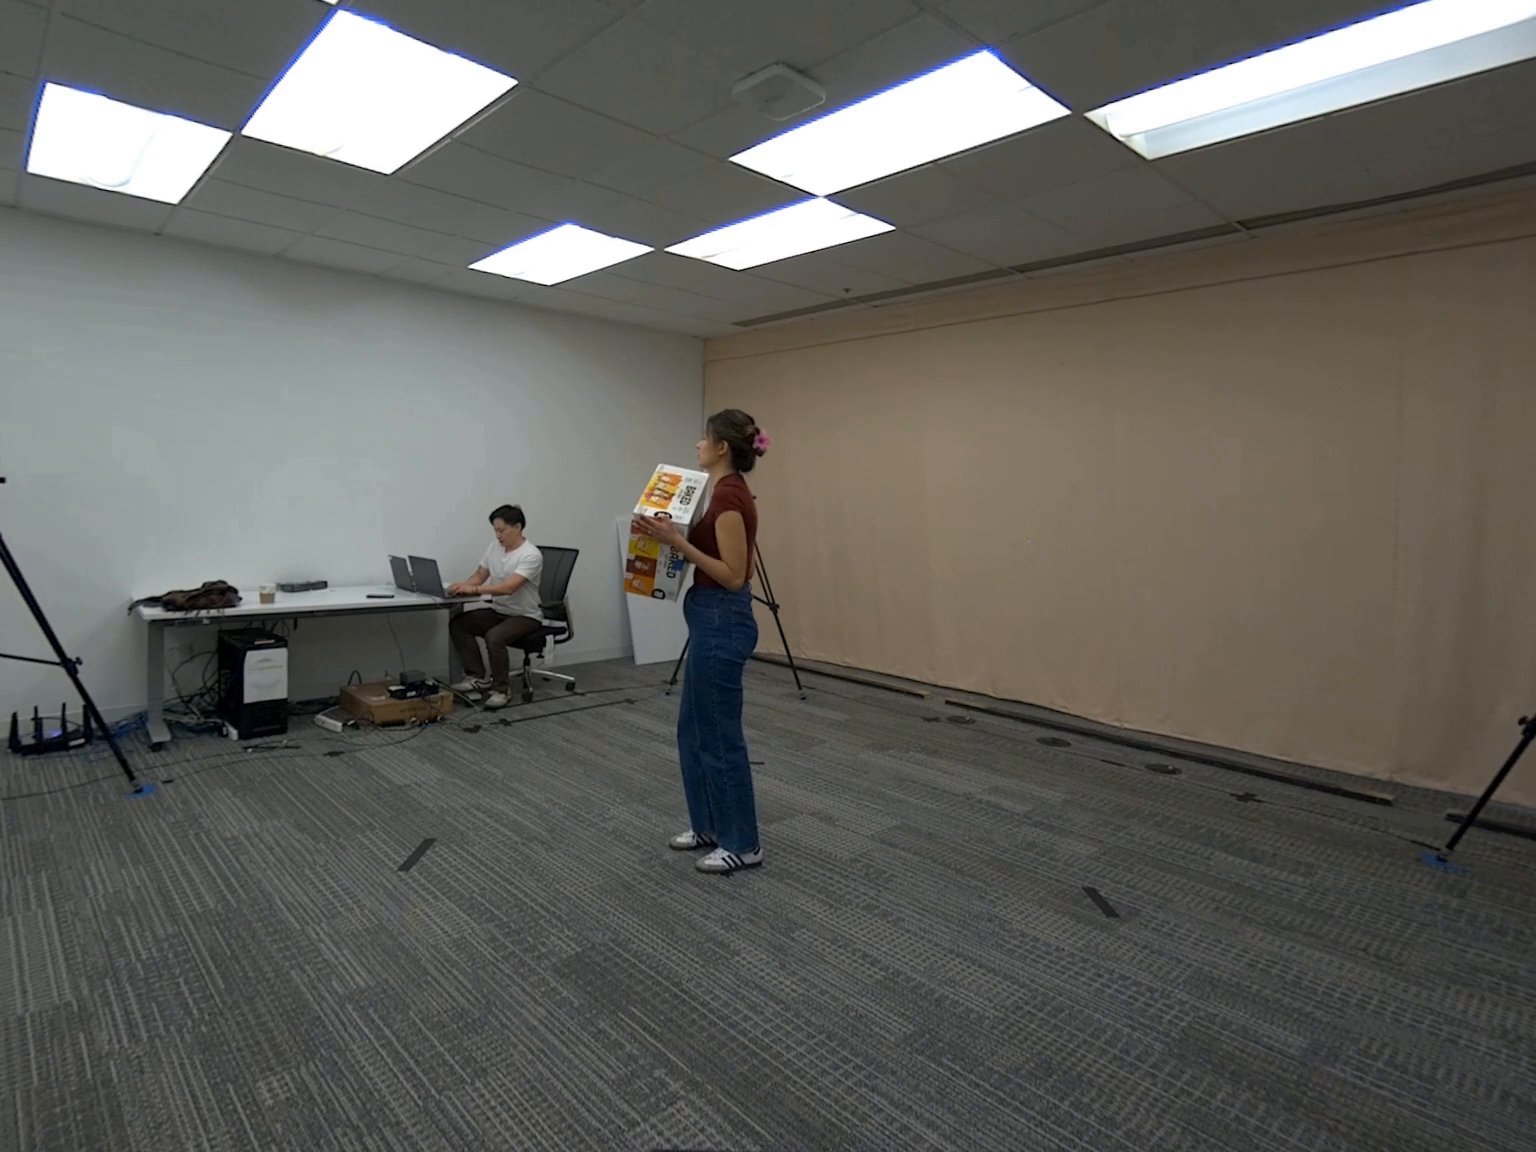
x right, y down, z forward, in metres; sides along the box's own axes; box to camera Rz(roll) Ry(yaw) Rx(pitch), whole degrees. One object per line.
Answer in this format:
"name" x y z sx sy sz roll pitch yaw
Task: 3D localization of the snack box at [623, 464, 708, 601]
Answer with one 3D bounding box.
"snack box" -0.384 -0.163 3.167 0.206 0.335 0.411 13 33 0
